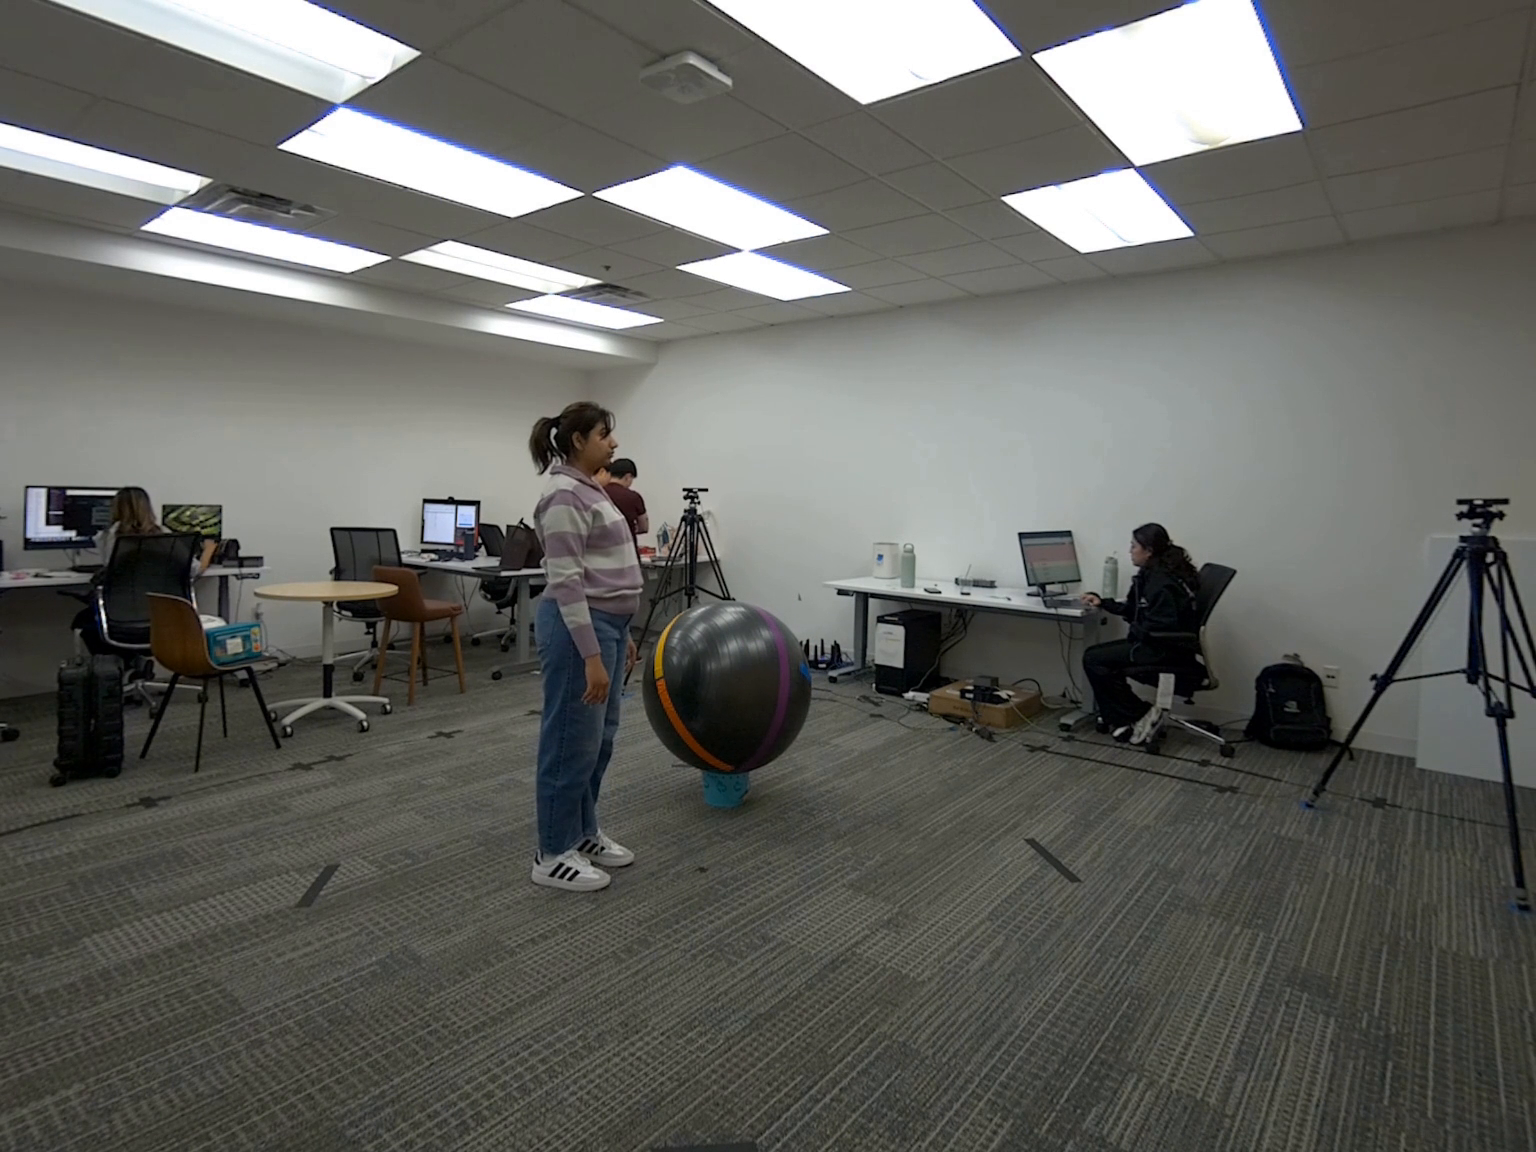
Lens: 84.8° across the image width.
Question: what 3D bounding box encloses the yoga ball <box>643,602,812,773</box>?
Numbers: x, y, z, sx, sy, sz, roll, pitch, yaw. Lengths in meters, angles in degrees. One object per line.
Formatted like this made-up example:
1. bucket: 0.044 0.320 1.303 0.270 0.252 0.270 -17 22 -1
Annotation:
1. yoga ball: -0.197 0.492 3.805 0.757 0.756 0.761 1 4 -2
